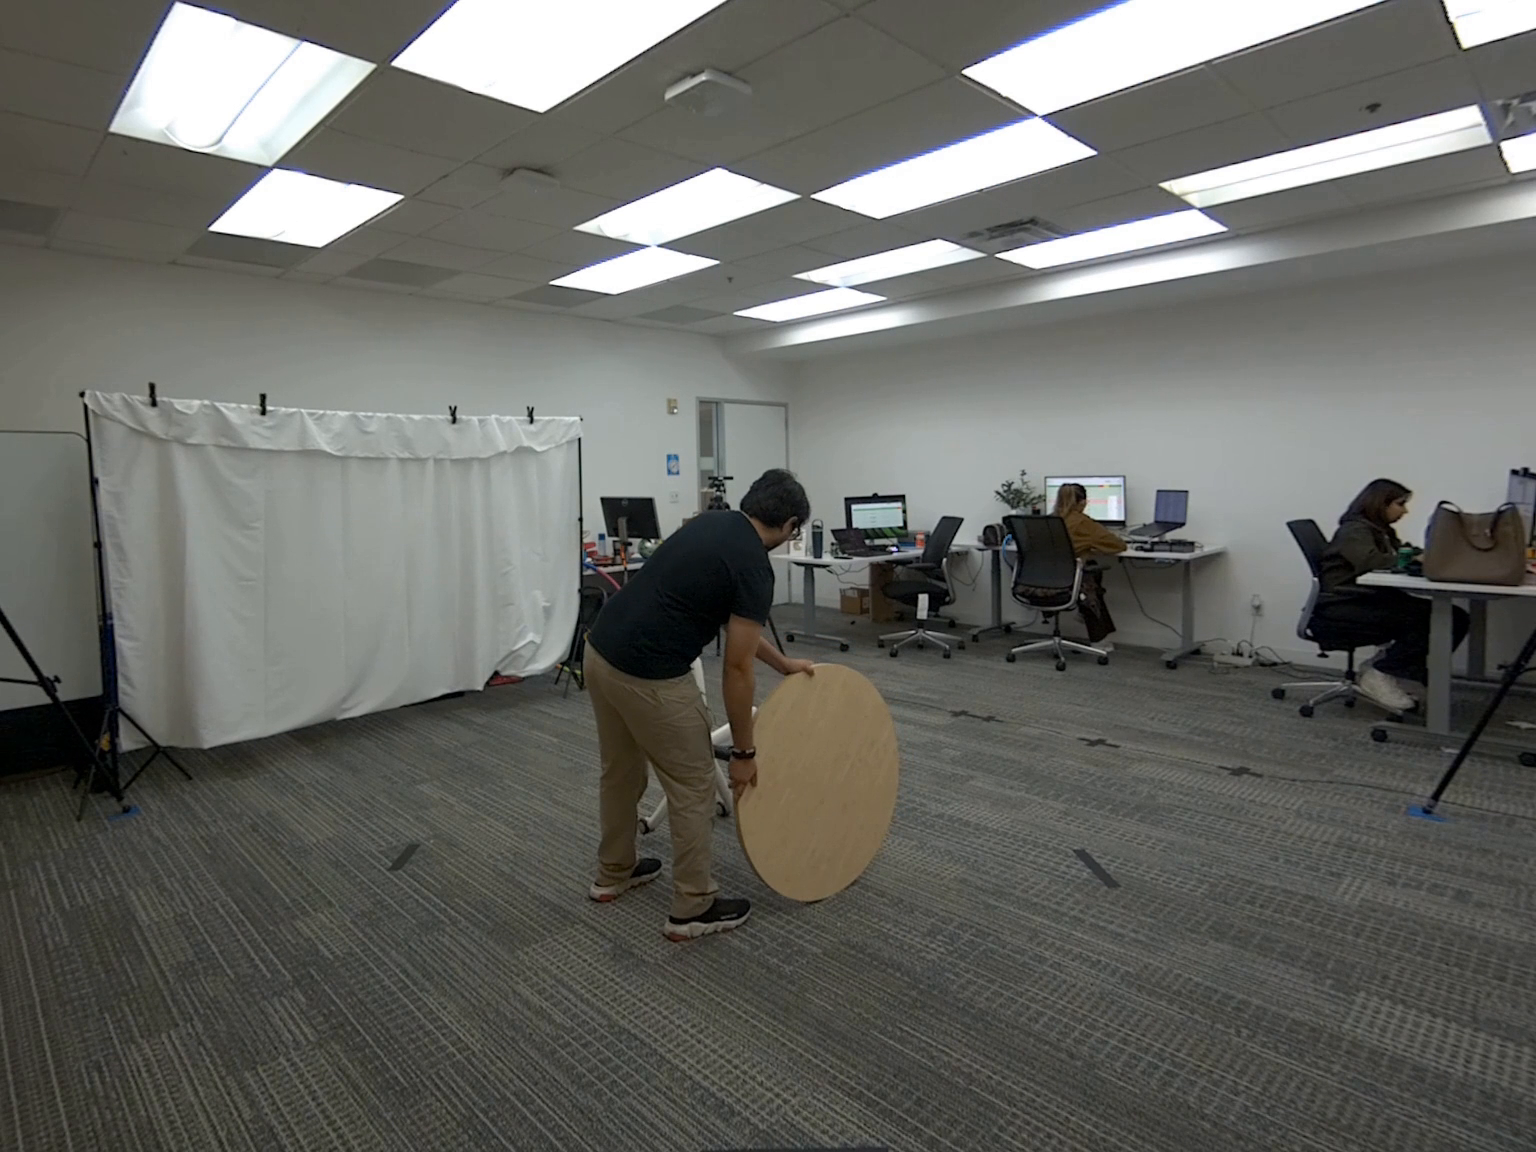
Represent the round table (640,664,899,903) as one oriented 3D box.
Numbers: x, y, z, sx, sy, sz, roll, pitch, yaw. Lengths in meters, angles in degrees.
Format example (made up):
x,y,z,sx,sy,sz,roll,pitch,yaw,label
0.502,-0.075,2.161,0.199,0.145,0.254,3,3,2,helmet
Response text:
x,y,z,sx,sy,sz,roll,pitch,yaw,label
-0.069,0.668,3.148,0.764,0.784,0.809,-5,3,-41,round table
